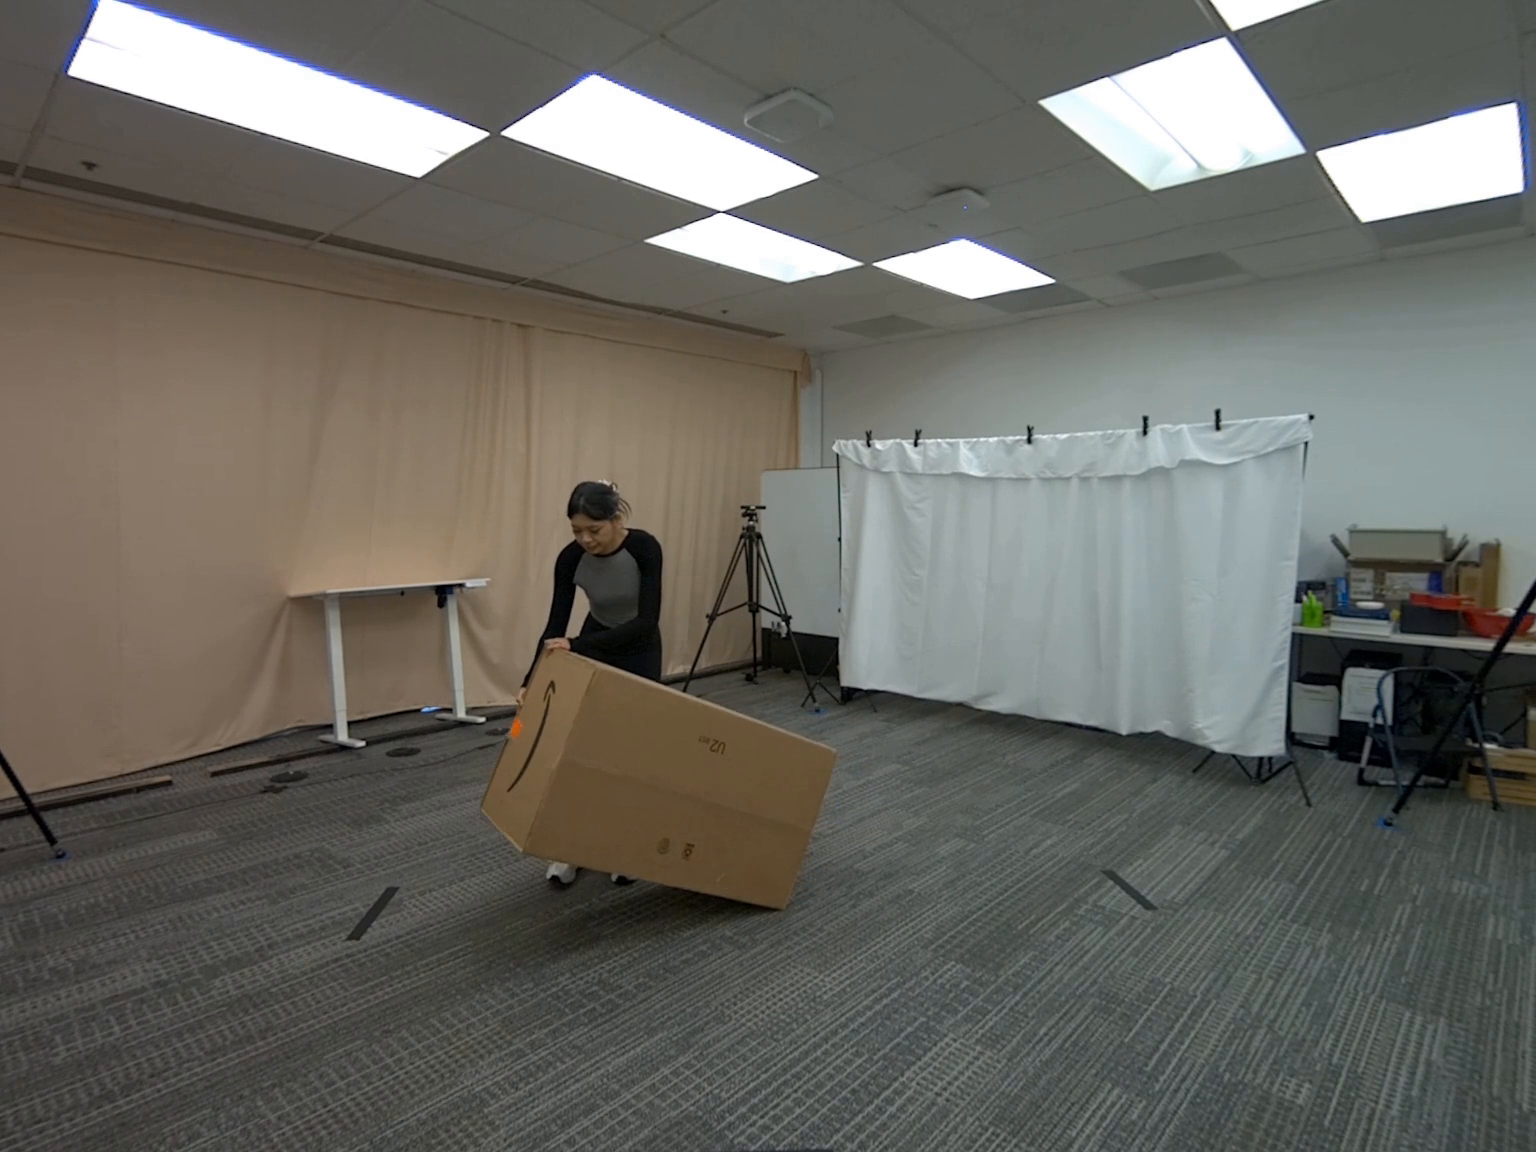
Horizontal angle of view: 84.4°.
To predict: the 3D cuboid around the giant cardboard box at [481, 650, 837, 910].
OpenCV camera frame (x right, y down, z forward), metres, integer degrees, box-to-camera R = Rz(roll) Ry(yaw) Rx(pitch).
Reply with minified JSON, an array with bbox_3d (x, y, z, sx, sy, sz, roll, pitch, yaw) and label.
[{"bbox_3d":[-0.340,0.696,2.866,0.993,0.585,0.461,26,-12,-32],"label":"giant cardboard box"}]
